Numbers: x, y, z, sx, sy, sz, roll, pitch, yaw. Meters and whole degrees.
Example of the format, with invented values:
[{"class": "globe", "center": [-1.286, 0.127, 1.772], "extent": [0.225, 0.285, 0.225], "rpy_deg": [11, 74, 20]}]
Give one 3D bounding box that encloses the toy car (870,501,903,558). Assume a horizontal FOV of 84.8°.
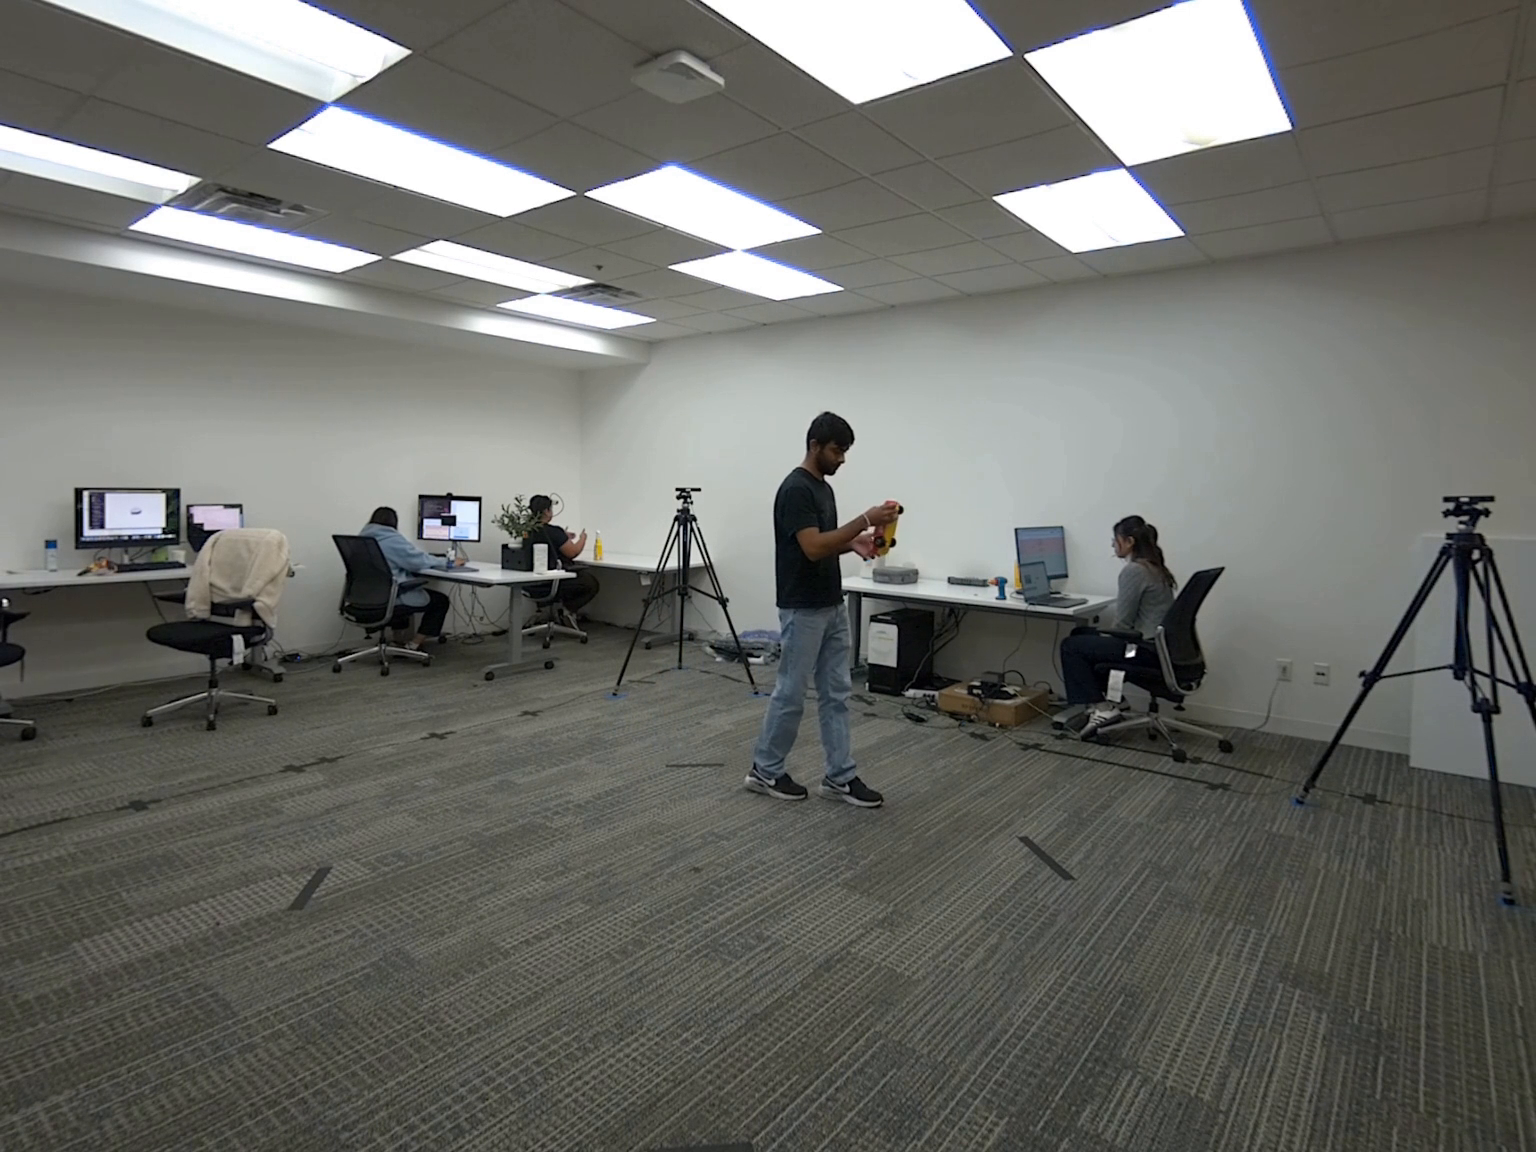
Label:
[{"class": "toy car", "center": [0.498, -0.202, 3.668], "extent": [0.086, 0.252, 0.126], "rpy_deg": [31, 18, 35]}]
